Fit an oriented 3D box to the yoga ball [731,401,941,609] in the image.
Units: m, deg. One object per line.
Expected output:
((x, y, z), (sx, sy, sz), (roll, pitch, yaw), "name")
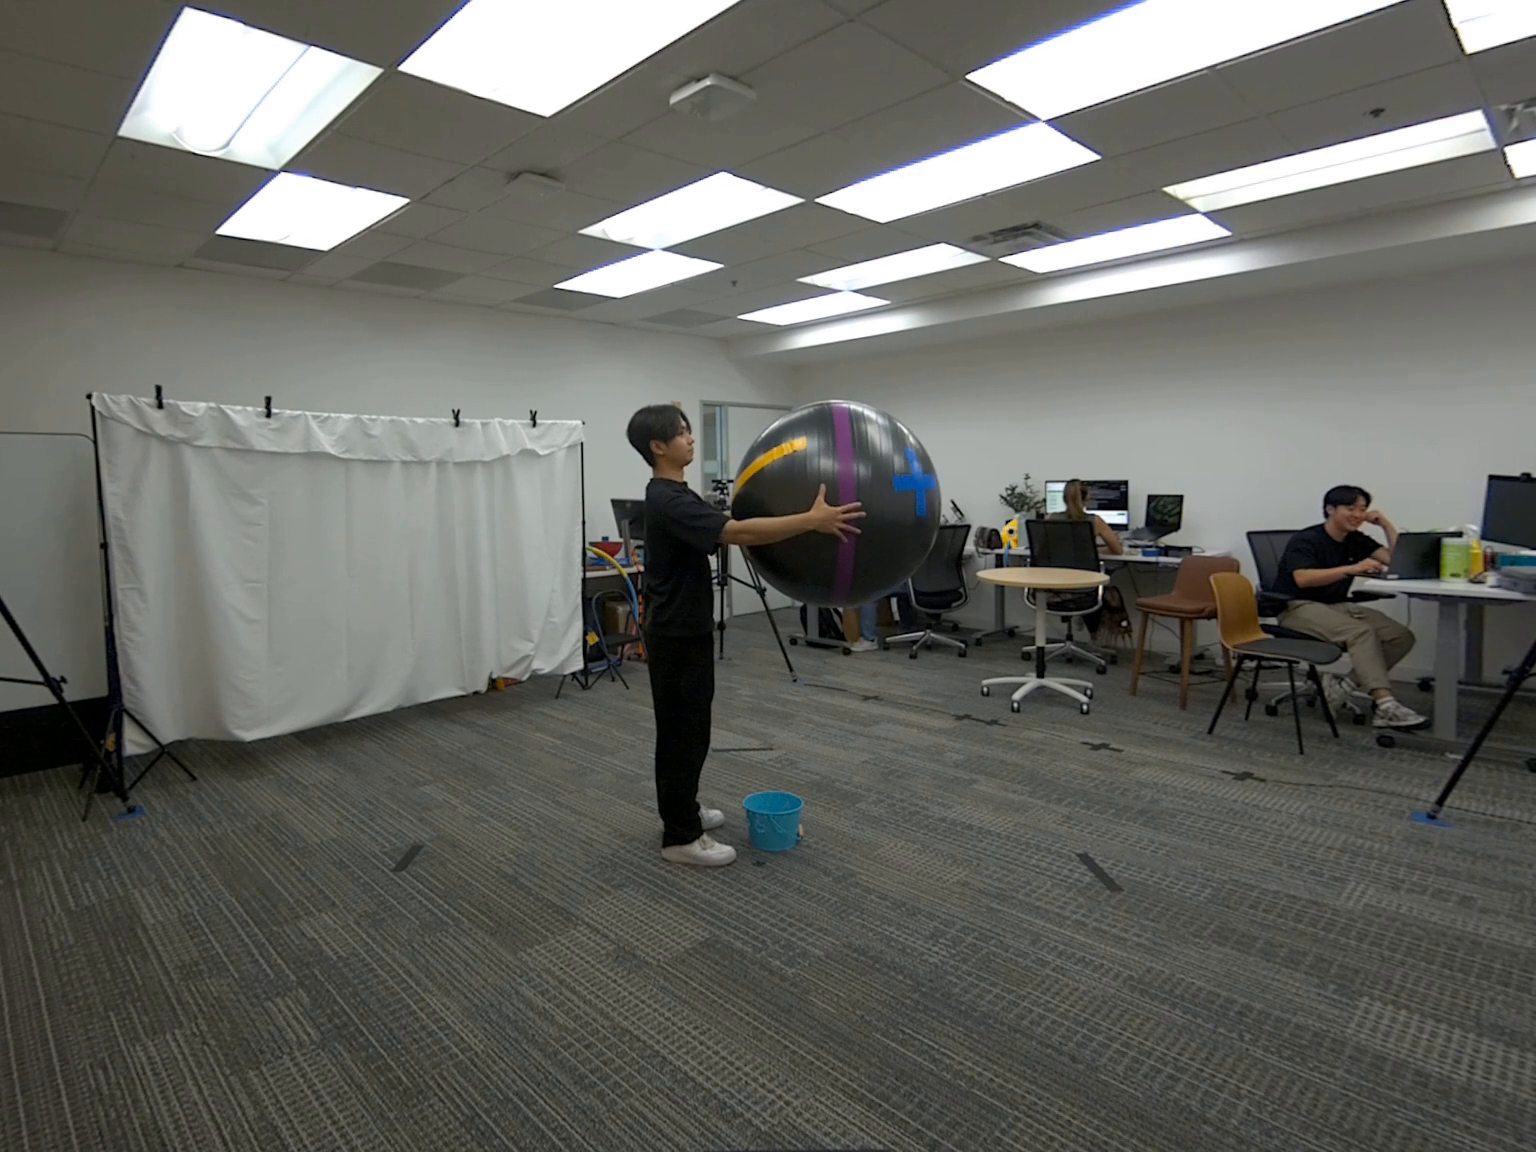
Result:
((0.252, -0.252, 3.152), (0.757, 0.755, 0.762), (-1, 5, -2), "yoga ball")
